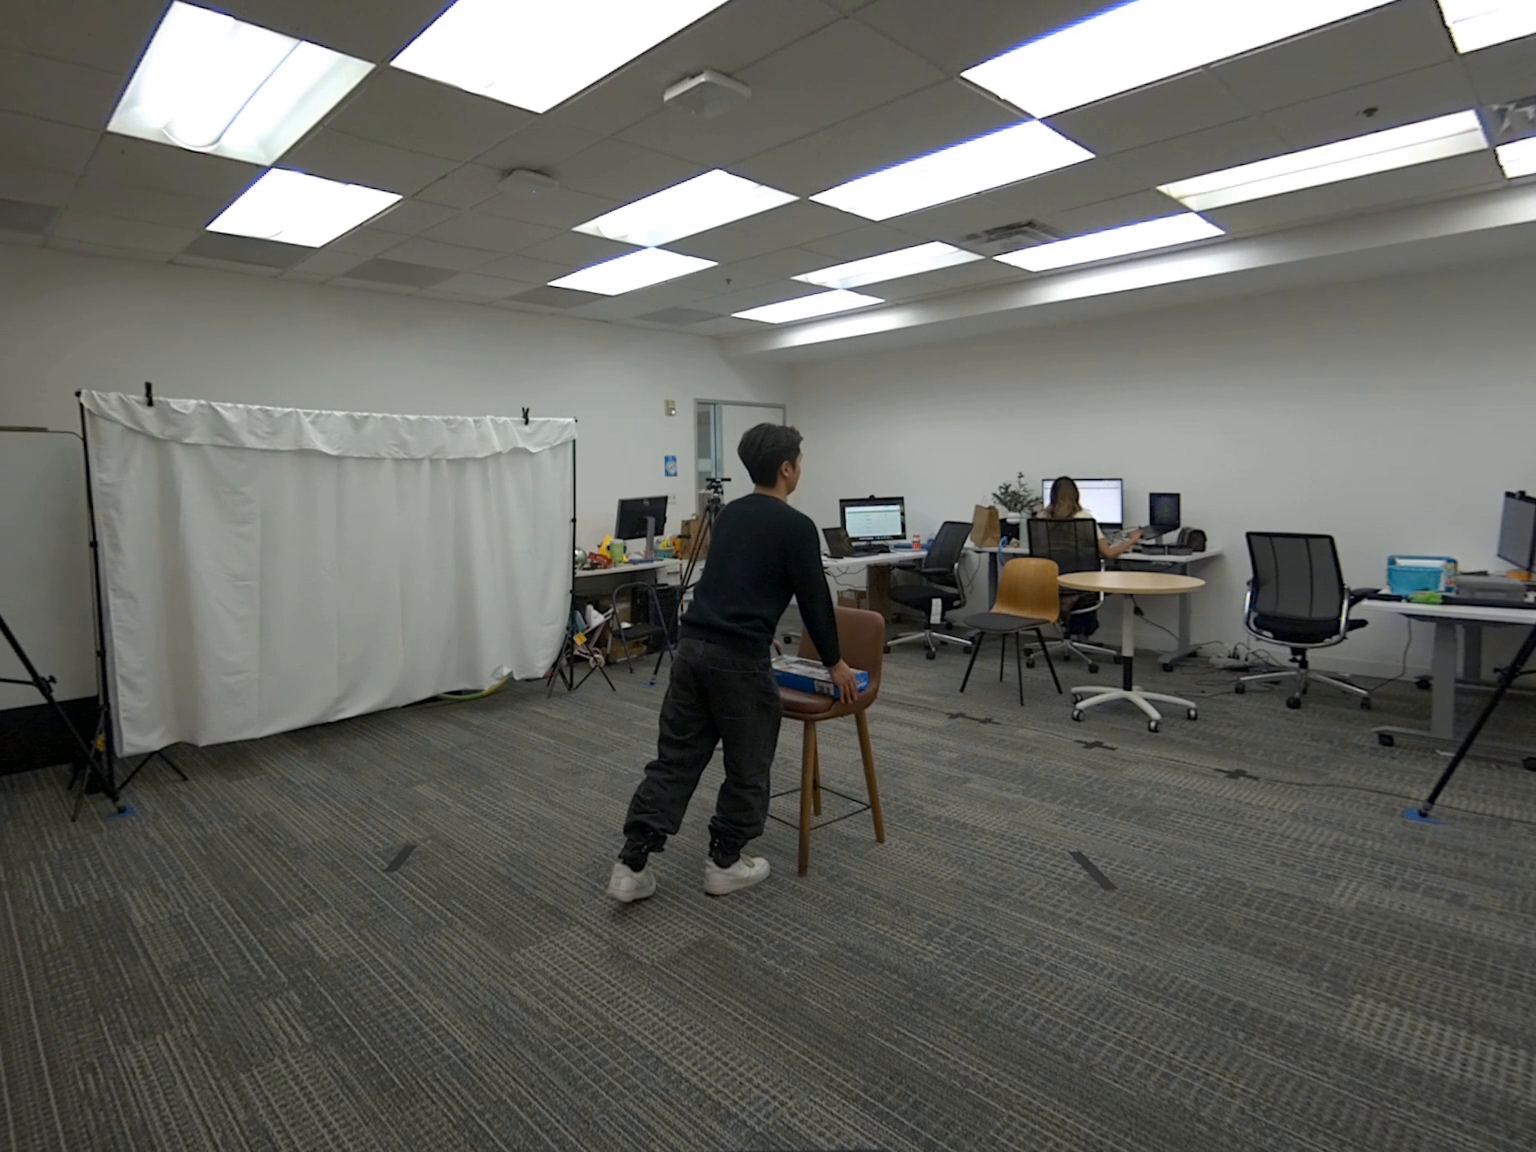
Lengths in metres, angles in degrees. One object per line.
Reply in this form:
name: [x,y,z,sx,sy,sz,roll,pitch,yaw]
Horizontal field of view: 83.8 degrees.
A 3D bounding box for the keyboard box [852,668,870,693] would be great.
keyboard box: [0.160,0.364,3.225,0.172,0.058,0.451,-11,13,-39]
